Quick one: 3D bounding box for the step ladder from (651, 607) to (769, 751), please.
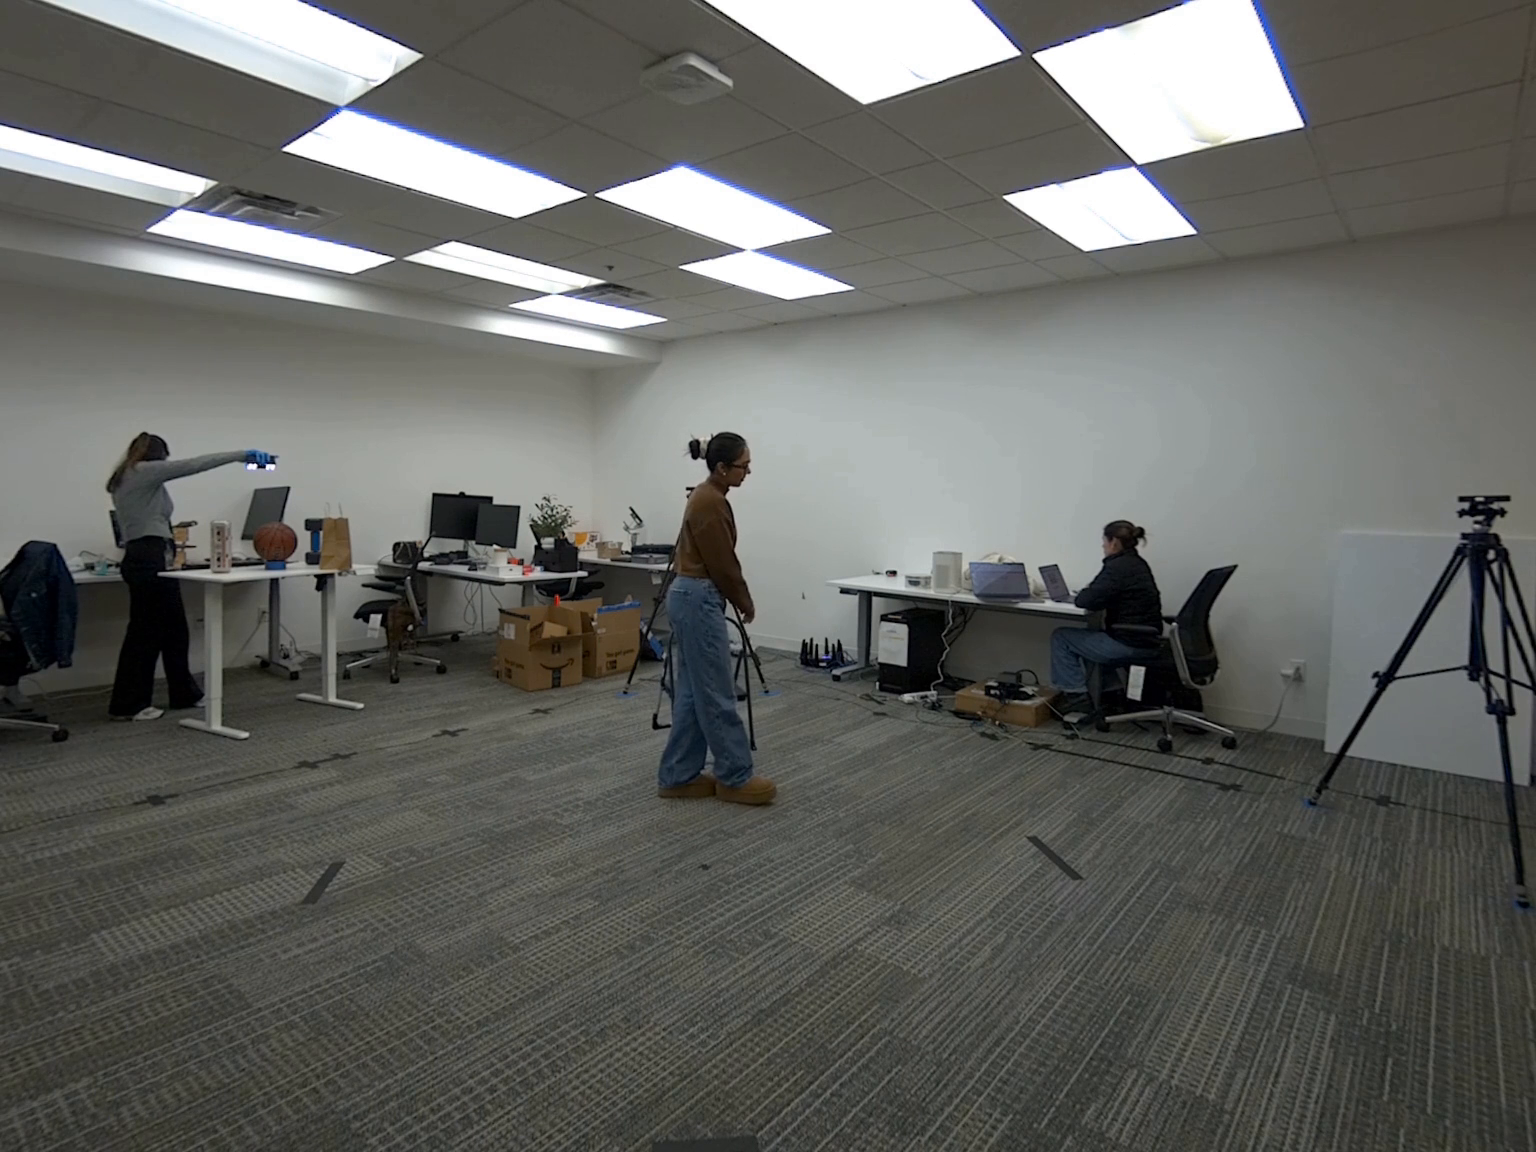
[{"bbox_3d":[-0.305,0.501,4.085,0.420,0.599,0.362,-1,14,-27],"label":"step ladder"}]
